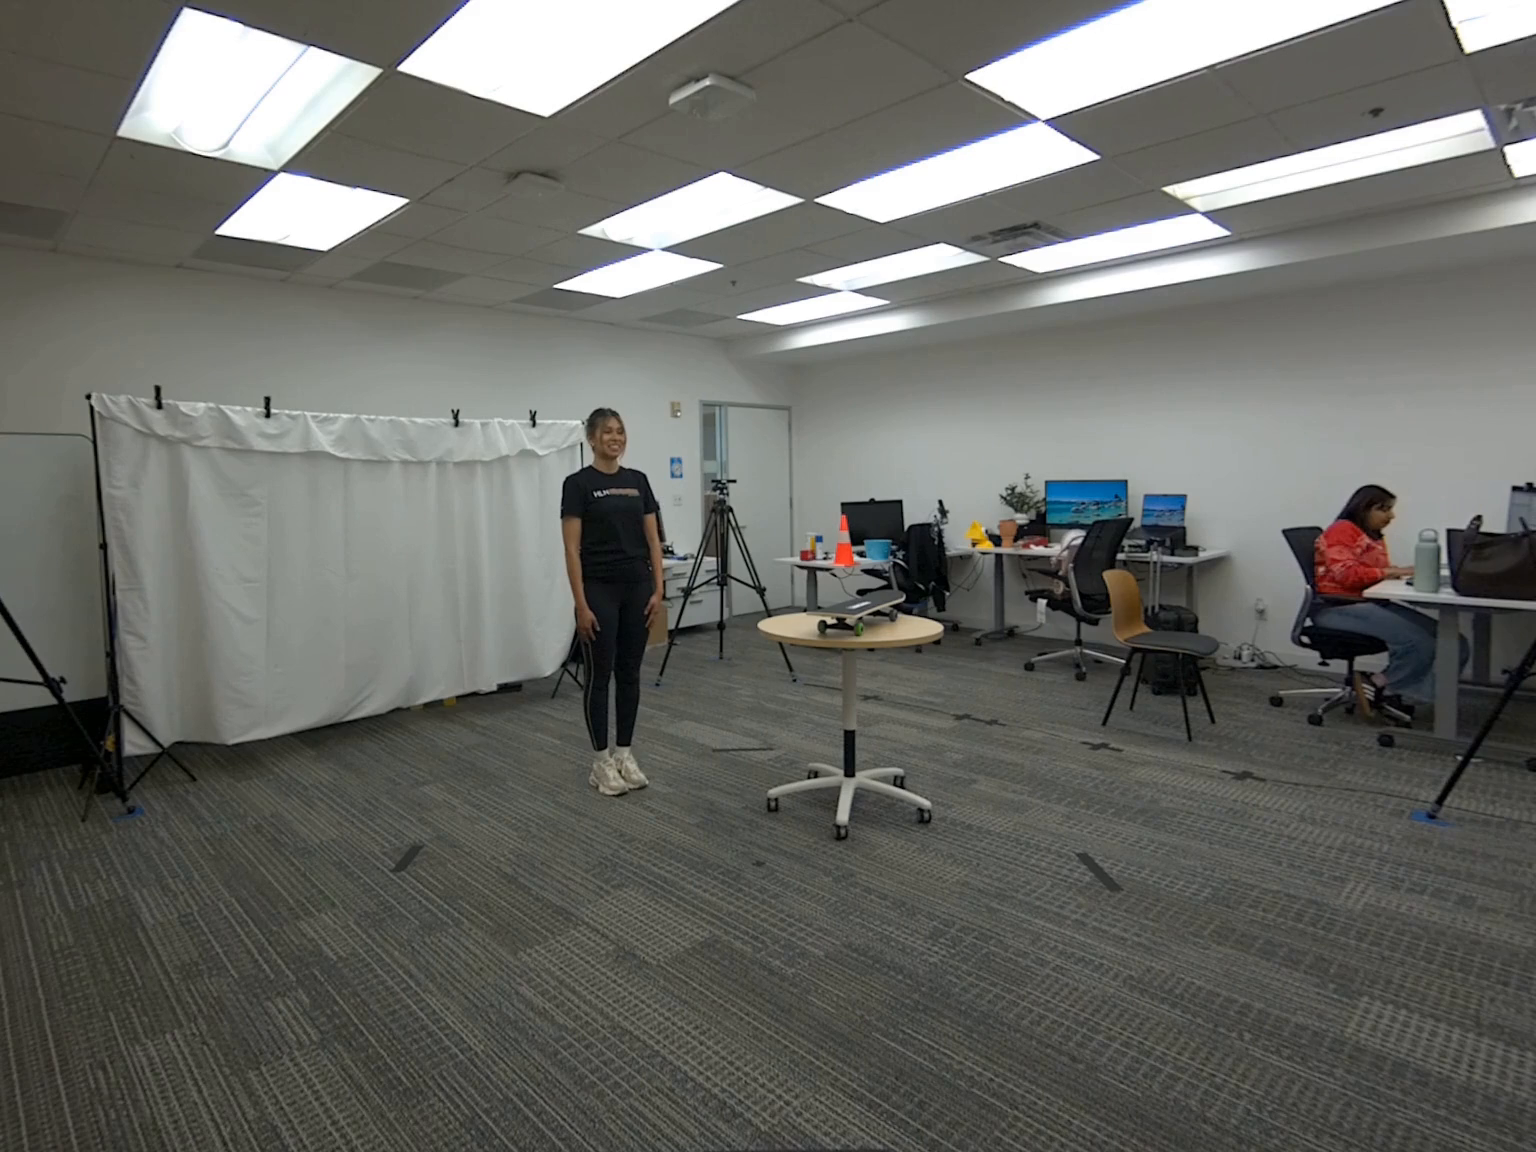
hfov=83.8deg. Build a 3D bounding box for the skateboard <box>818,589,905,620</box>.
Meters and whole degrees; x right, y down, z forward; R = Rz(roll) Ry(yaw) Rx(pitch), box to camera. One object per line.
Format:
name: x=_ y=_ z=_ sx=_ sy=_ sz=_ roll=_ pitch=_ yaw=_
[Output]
skateboard: x=0.361 y=0.159 z=3.533 sx=0.198 sy=0.110 sz=0.769 roll=3 pitch=7 yaw=27
